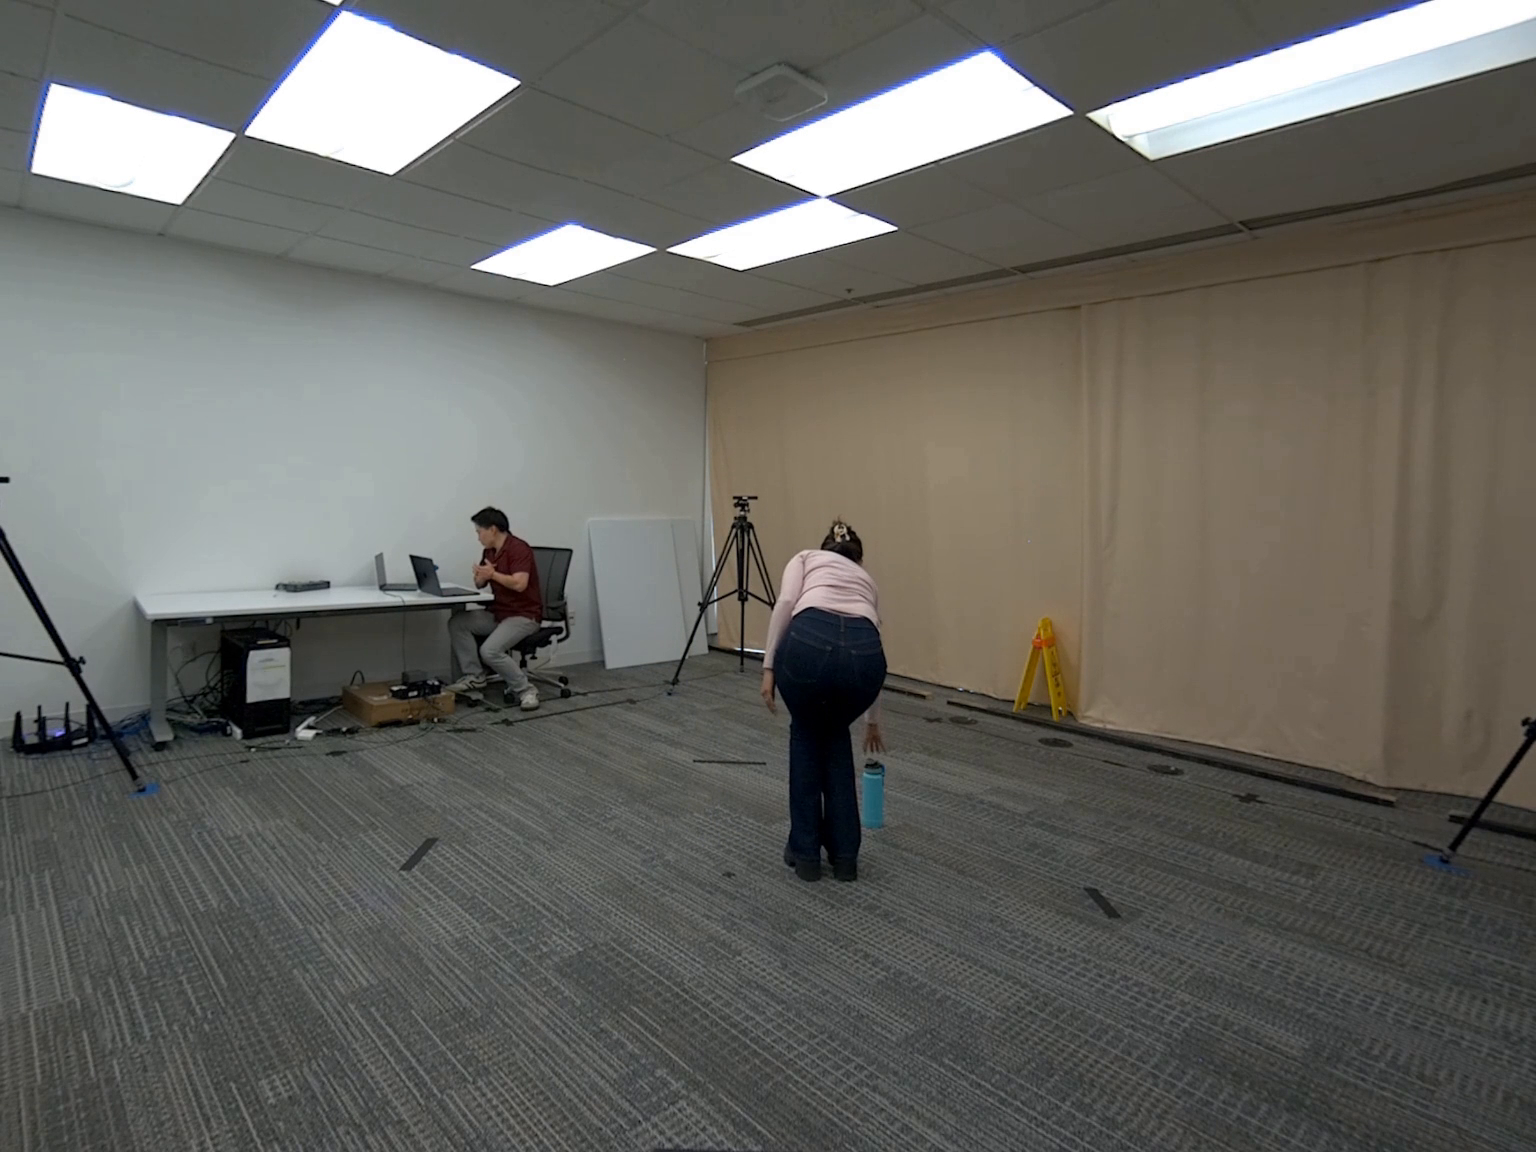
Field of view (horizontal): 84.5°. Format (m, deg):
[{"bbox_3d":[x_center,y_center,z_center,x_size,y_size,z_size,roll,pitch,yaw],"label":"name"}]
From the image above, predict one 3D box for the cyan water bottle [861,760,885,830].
[{"bbox_3d":[0.447,0.932,3.629,0.092,0.283,0.092,3,3,-2],"label":"cyan water bottle"}]
